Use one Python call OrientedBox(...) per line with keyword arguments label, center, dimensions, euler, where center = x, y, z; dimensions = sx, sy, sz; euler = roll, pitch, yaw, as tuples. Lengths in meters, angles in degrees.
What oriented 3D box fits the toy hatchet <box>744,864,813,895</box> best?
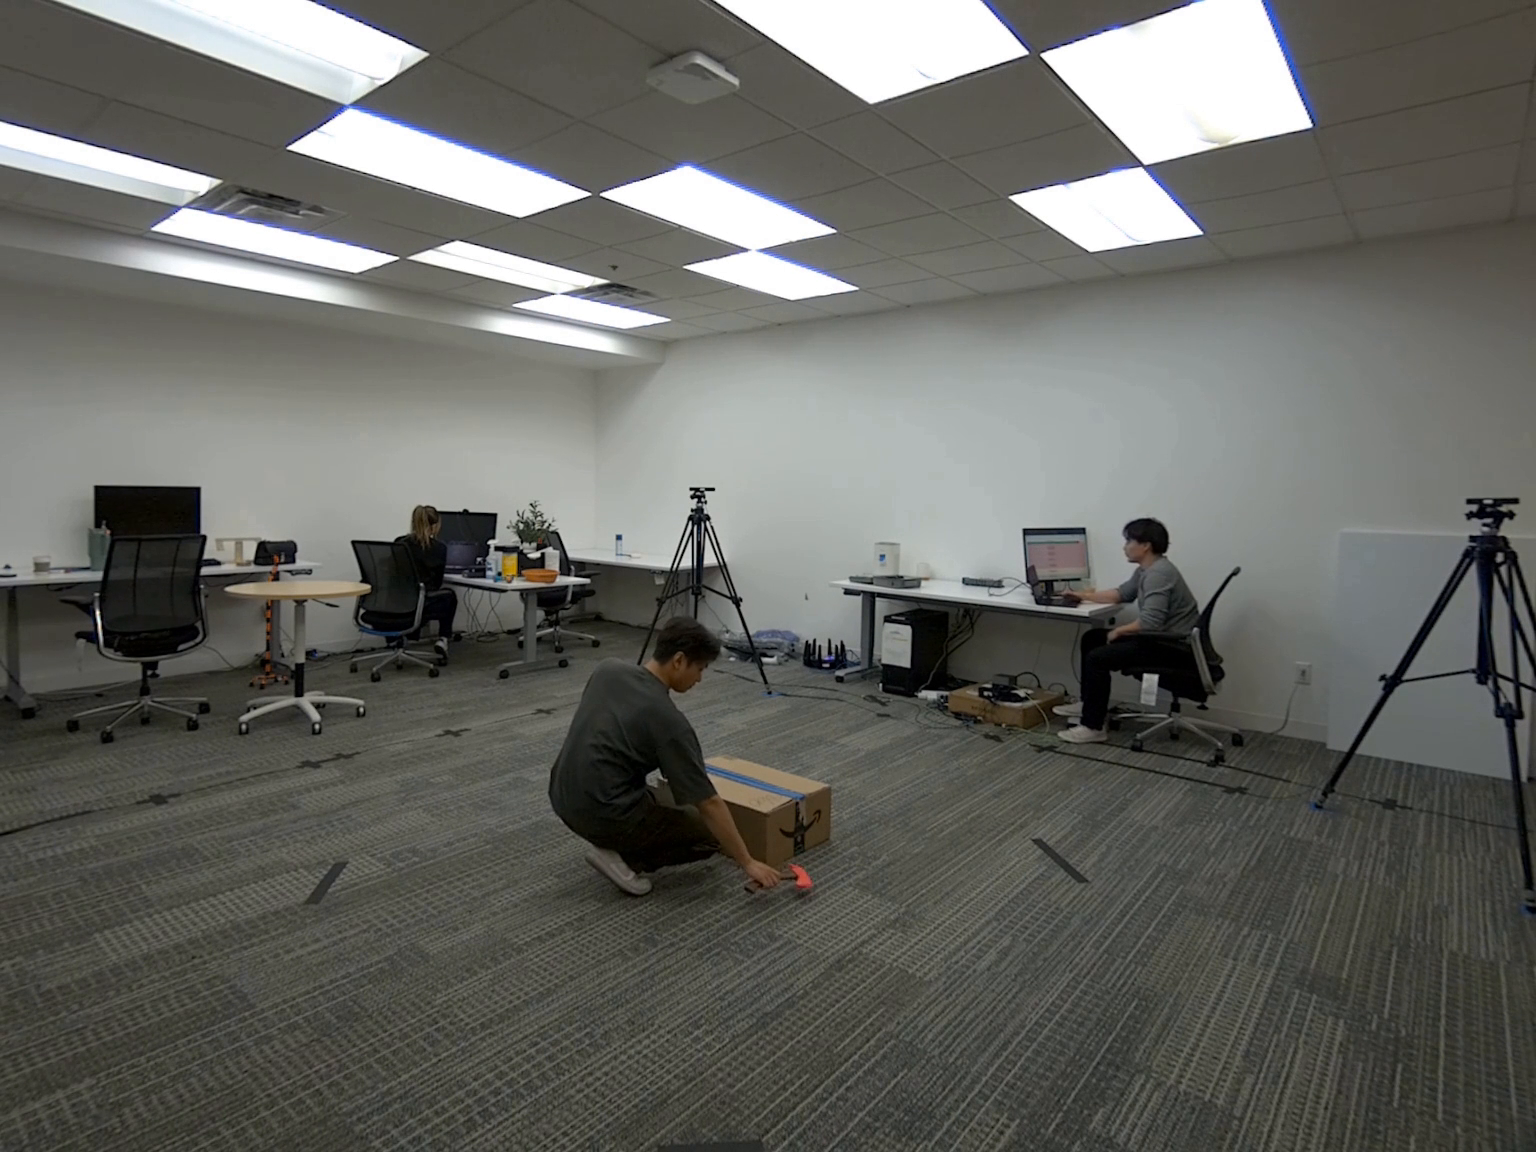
OrientedBox(label="toy hatchet", center=(0.037, 1.050, 2.891), dimensions=(0.262, 0.029, 0.136), euler=(-8, 25, -44))
